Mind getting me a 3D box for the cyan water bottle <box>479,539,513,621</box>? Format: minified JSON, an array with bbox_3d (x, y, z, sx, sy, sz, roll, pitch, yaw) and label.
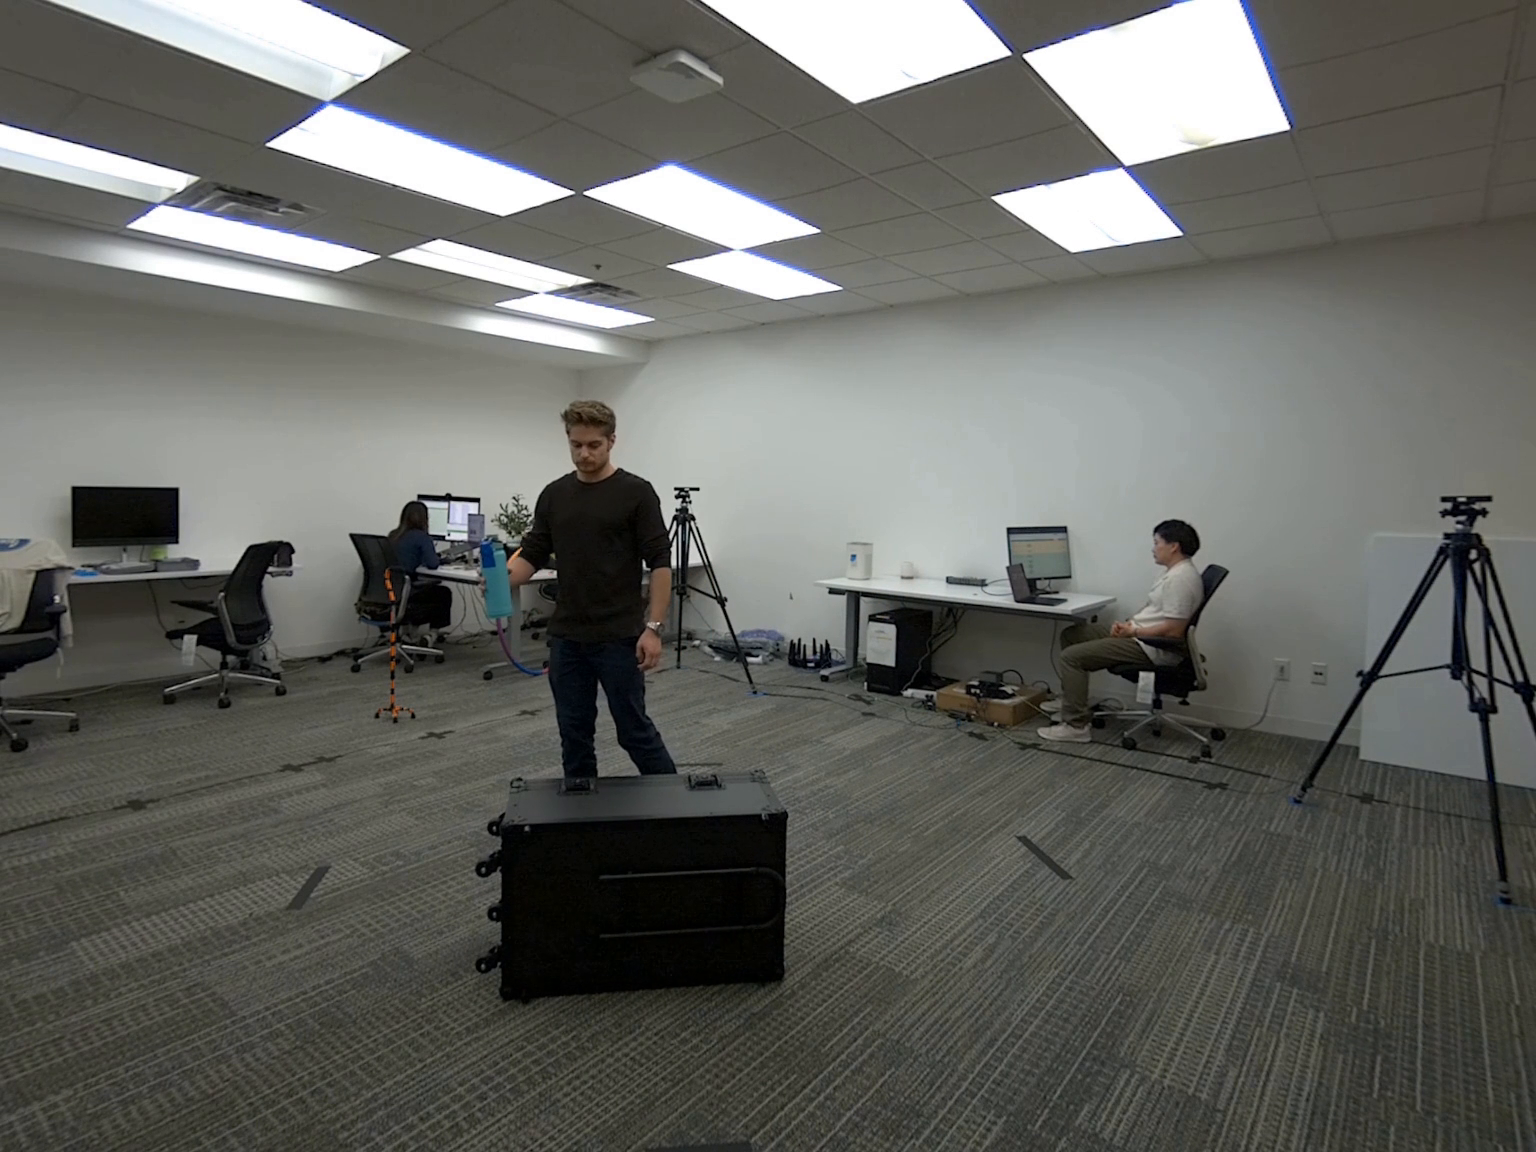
[{"bbox_3d":[-0.947,-0.006,2.921,0.092,0.281,0.093,-7,7,-1],"label":"cyan water bottle"}]
